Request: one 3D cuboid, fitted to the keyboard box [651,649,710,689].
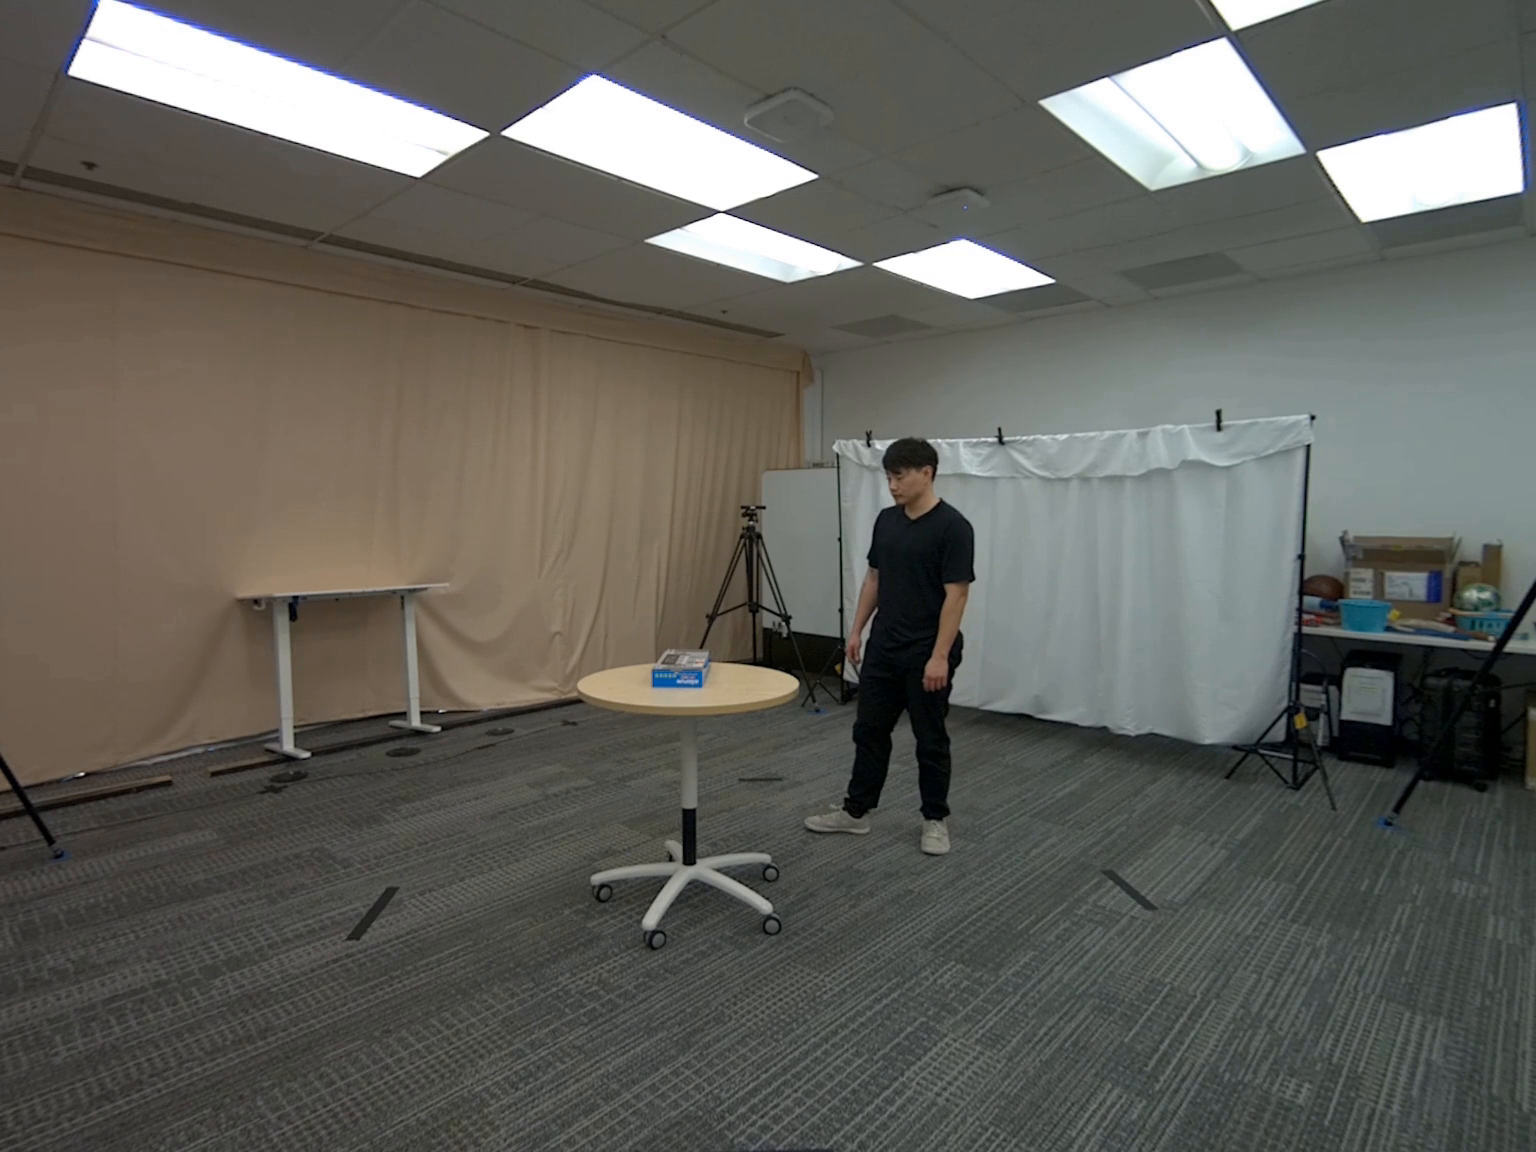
[{"bbox_3d":[-0.304,0.328,3.044,0.176,0.059,0.437,-1,4,-1],"label":"keyboard box"}]
